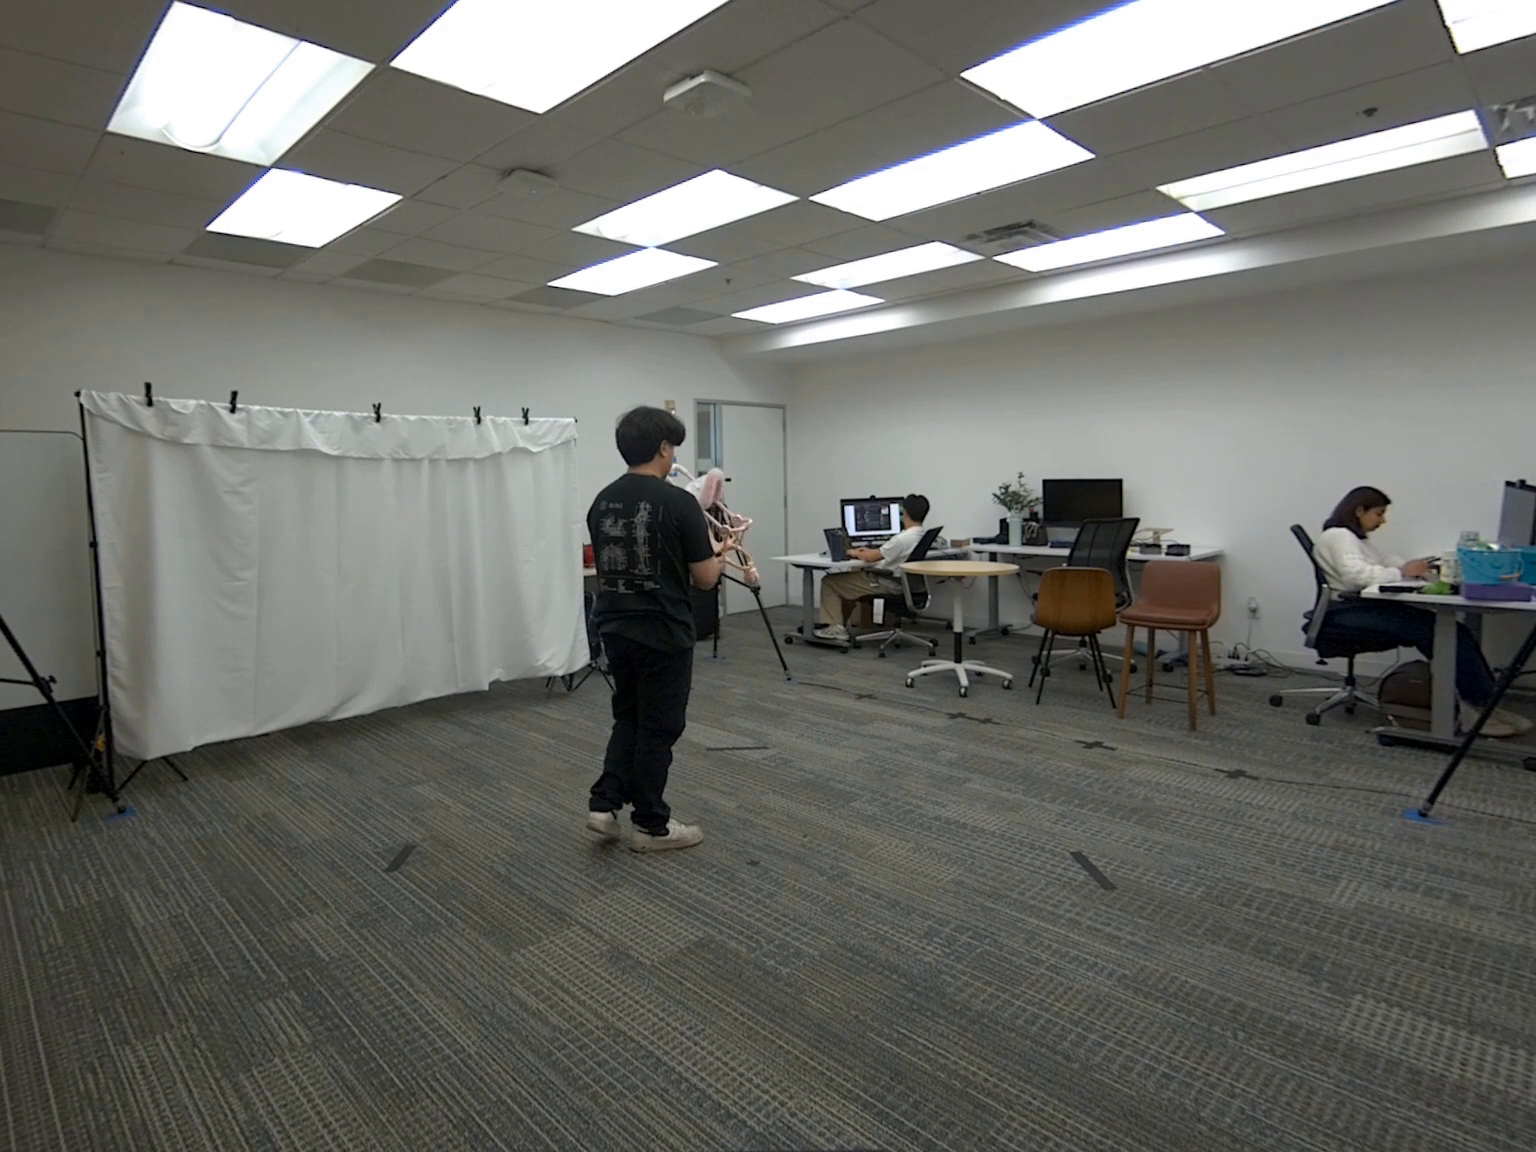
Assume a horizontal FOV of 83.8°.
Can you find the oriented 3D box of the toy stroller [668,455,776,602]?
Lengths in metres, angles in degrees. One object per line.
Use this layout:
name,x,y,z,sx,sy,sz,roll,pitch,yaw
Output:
toy stroller,-0.208,-0.199,3.523,0.348,0.528,0.279,-2,13,22
